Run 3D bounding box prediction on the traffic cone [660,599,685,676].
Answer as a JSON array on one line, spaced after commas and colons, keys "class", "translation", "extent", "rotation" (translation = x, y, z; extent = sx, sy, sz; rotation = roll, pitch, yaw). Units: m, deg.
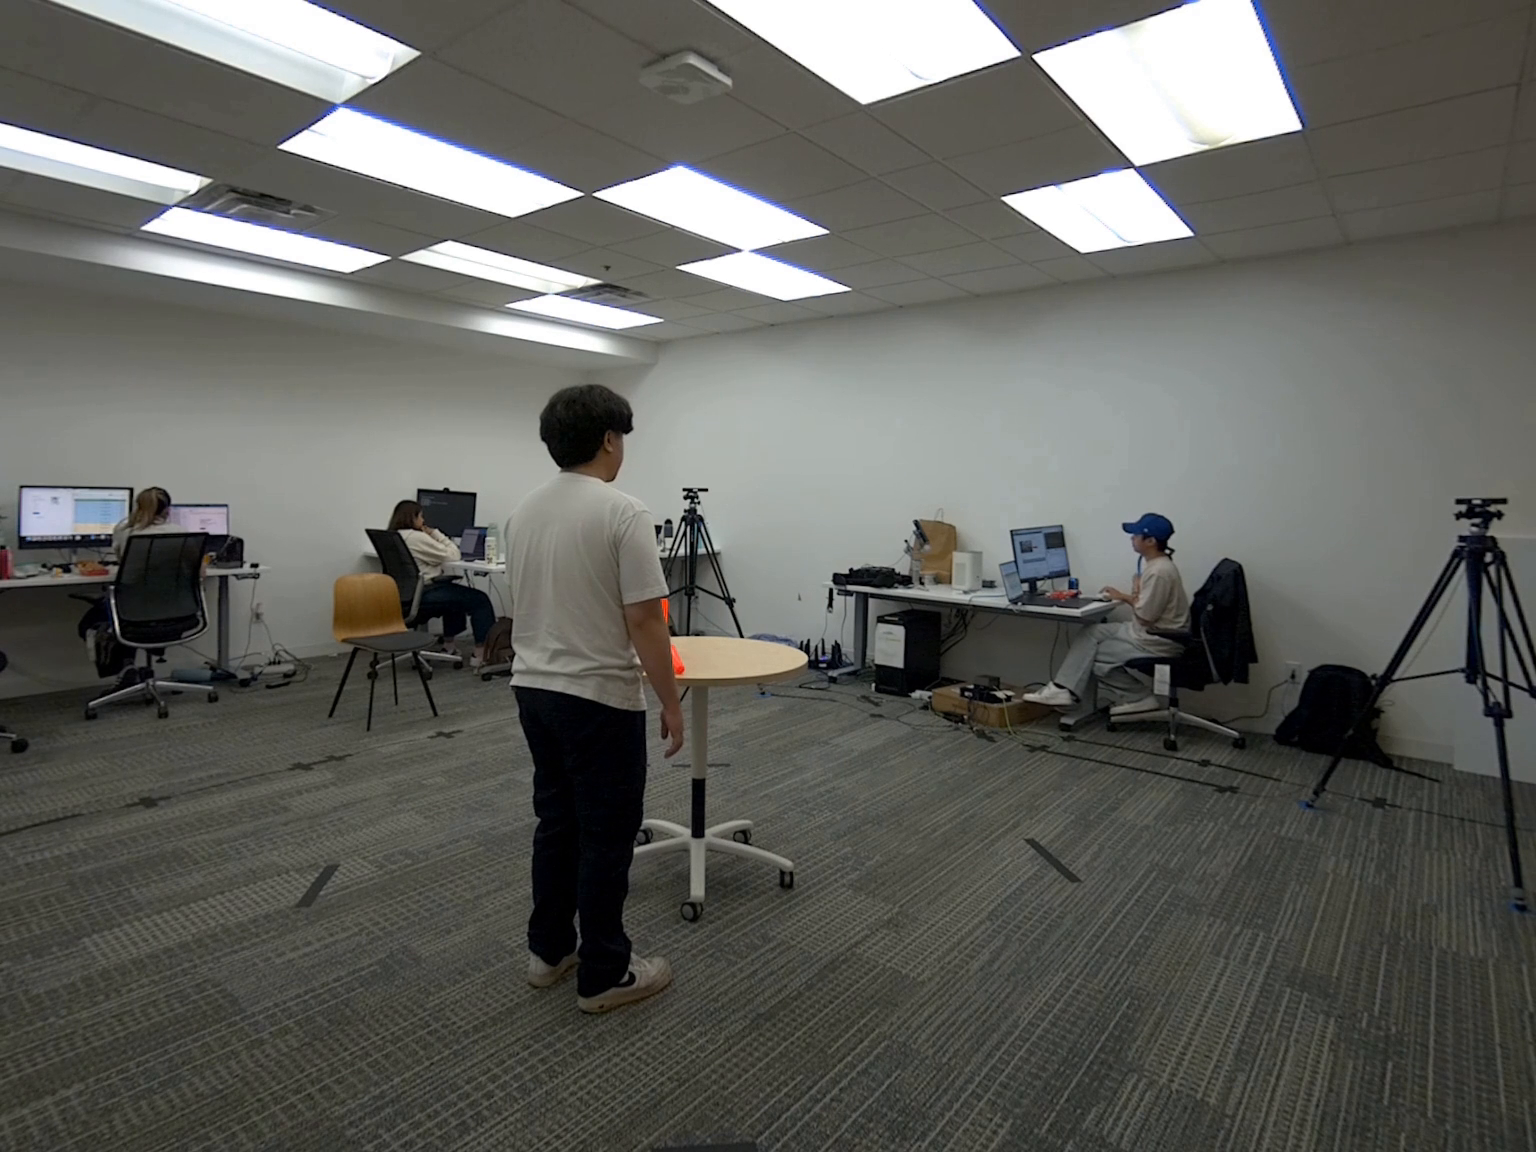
[{"class": "traffic cone", "translation": [-0.370, 0.241, 2.863], "extent": [0.199, 0.201, 0.398], "rotation": [3, 16, -29]}]
